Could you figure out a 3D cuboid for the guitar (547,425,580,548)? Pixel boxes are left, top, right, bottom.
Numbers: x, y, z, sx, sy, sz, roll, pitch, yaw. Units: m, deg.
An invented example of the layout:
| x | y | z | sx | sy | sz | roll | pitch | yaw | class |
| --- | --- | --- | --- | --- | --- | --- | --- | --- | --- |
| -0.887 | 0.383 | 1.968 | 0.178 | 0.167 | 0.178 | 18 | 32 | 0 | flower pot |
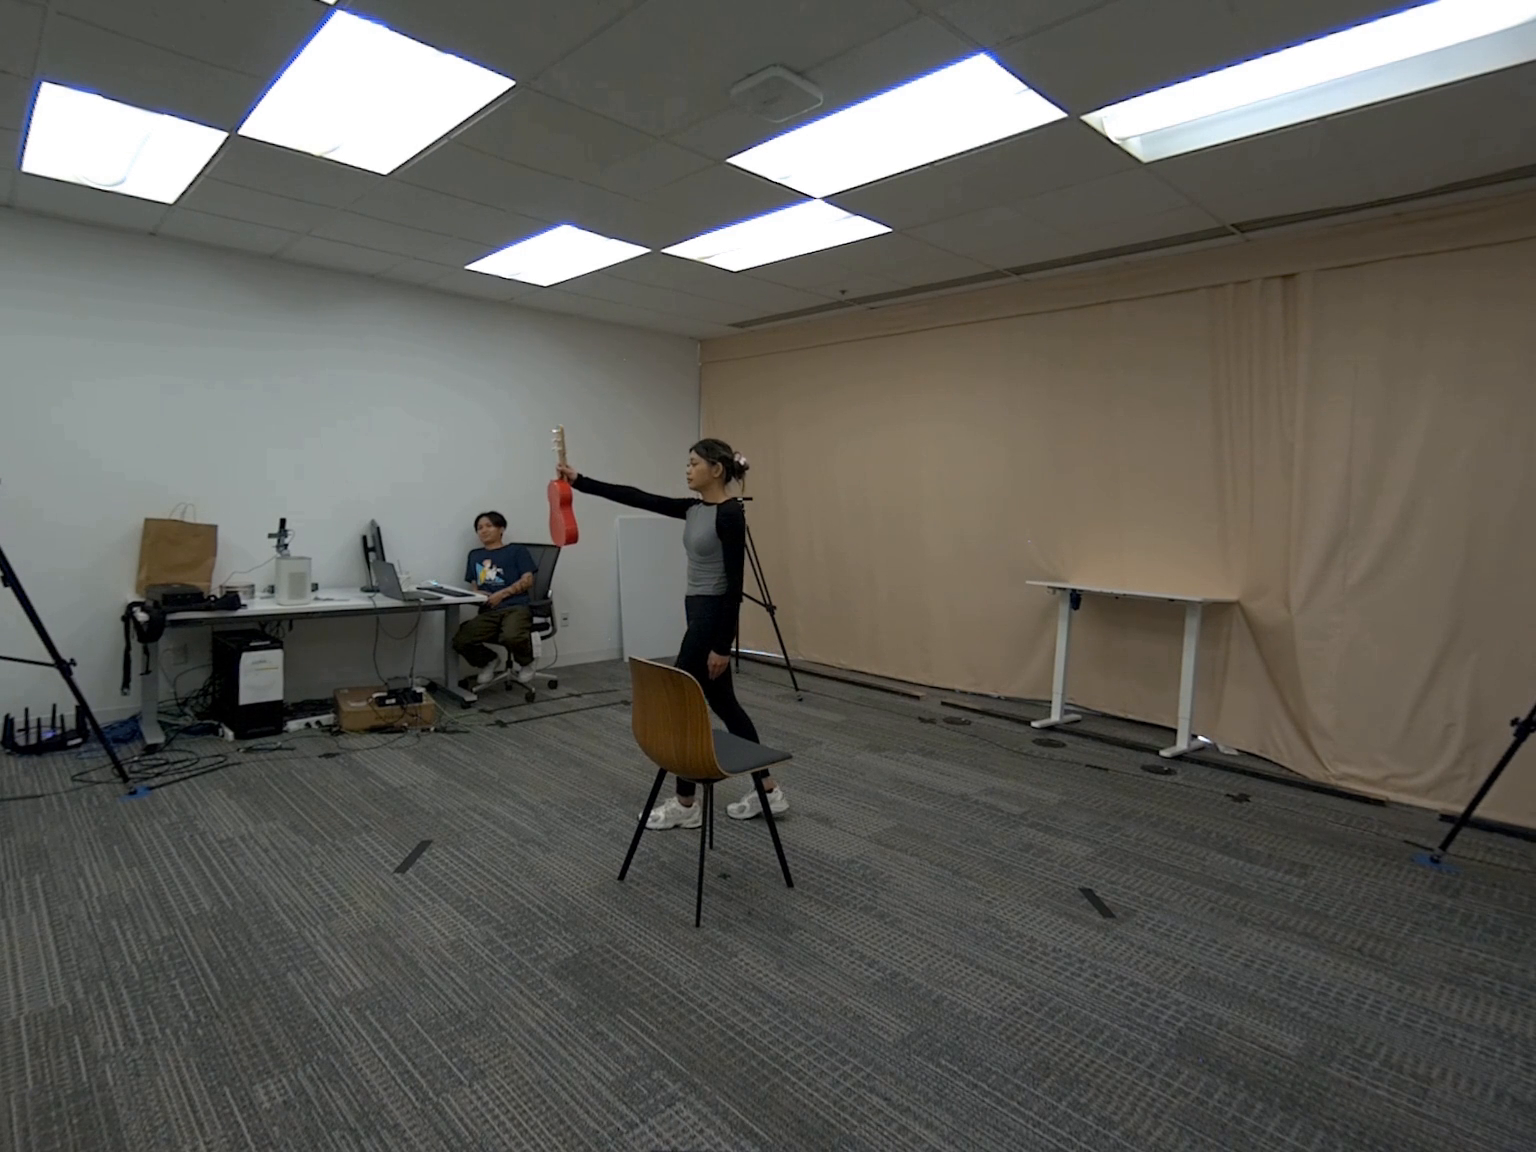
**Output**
| x | y | z | sx | sy | sz | roll | pitch | yaw | class |
| --- | --- | --- | --- | --- | --- | --- | --- | --- | --- |
| -0.883 | -0.373 | 3.519 | 0.069 | 0.497 | 0.196 | -9 | 2 | -30 | guitar |
